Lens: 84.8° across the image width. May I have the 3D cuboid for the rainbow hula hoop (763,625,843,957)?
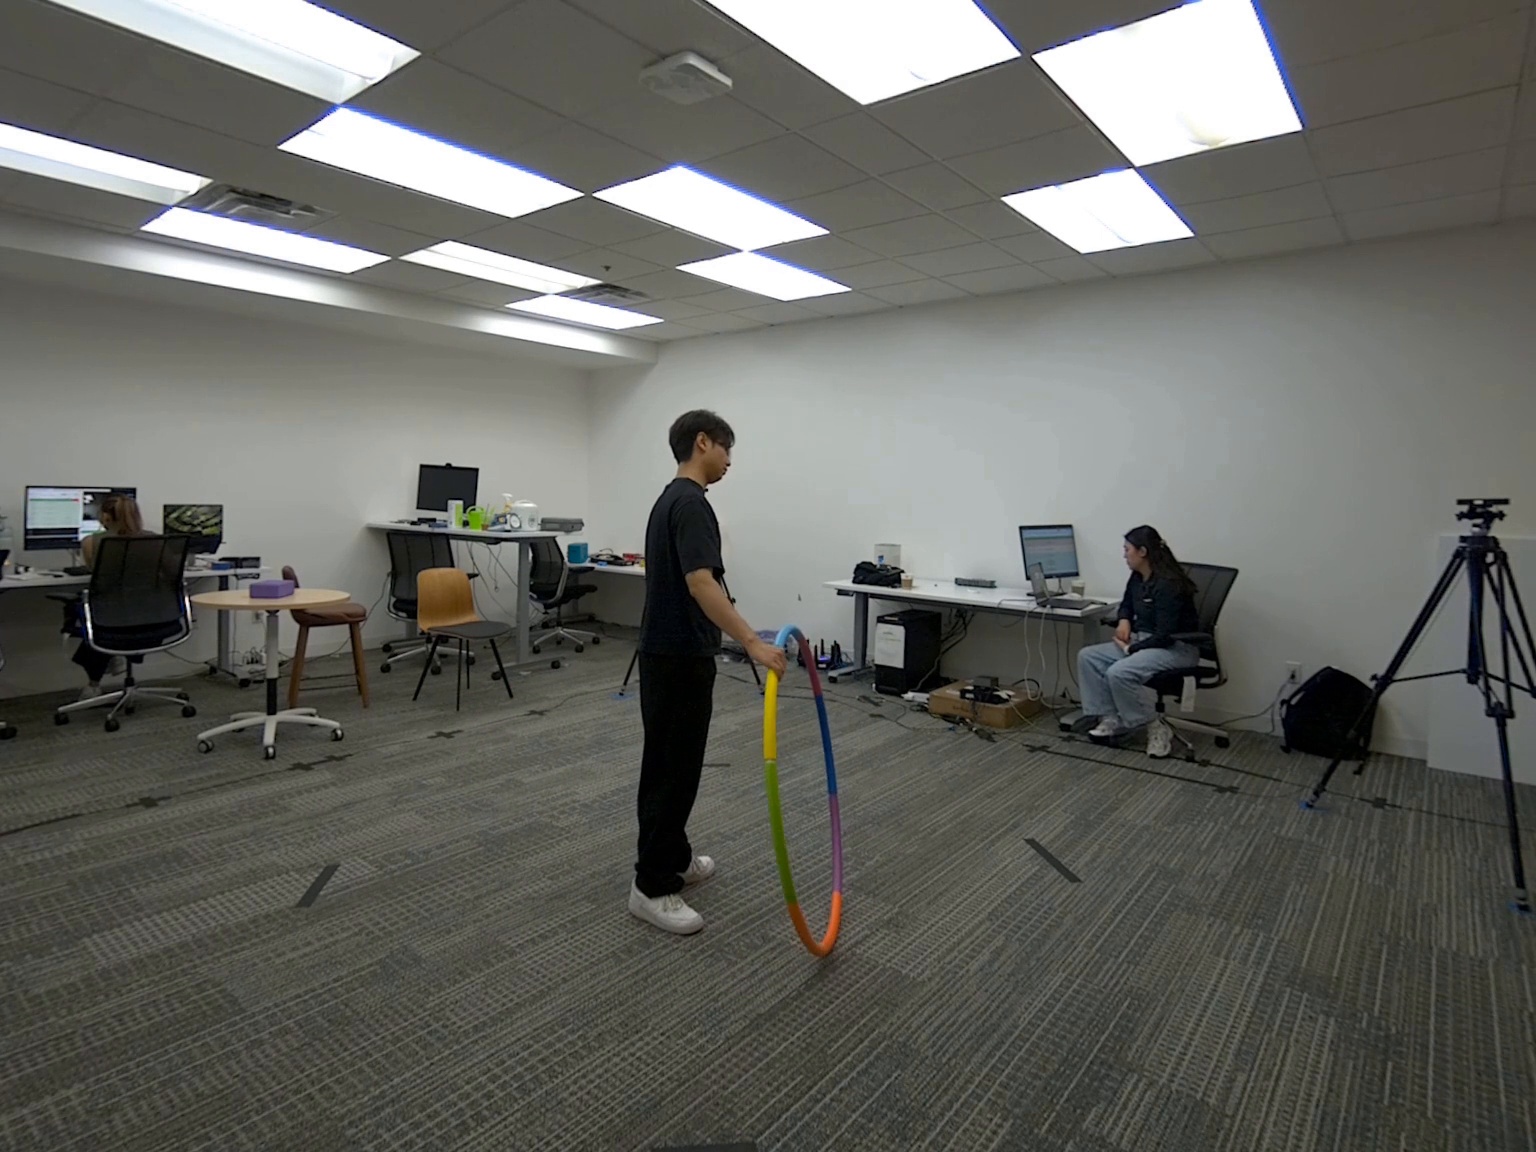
[{"bbox_3d":[0.121,0.639,2.664,0.036,0.978,0.967,-8,2,13],"label":"rainbow hula hoop"}]
